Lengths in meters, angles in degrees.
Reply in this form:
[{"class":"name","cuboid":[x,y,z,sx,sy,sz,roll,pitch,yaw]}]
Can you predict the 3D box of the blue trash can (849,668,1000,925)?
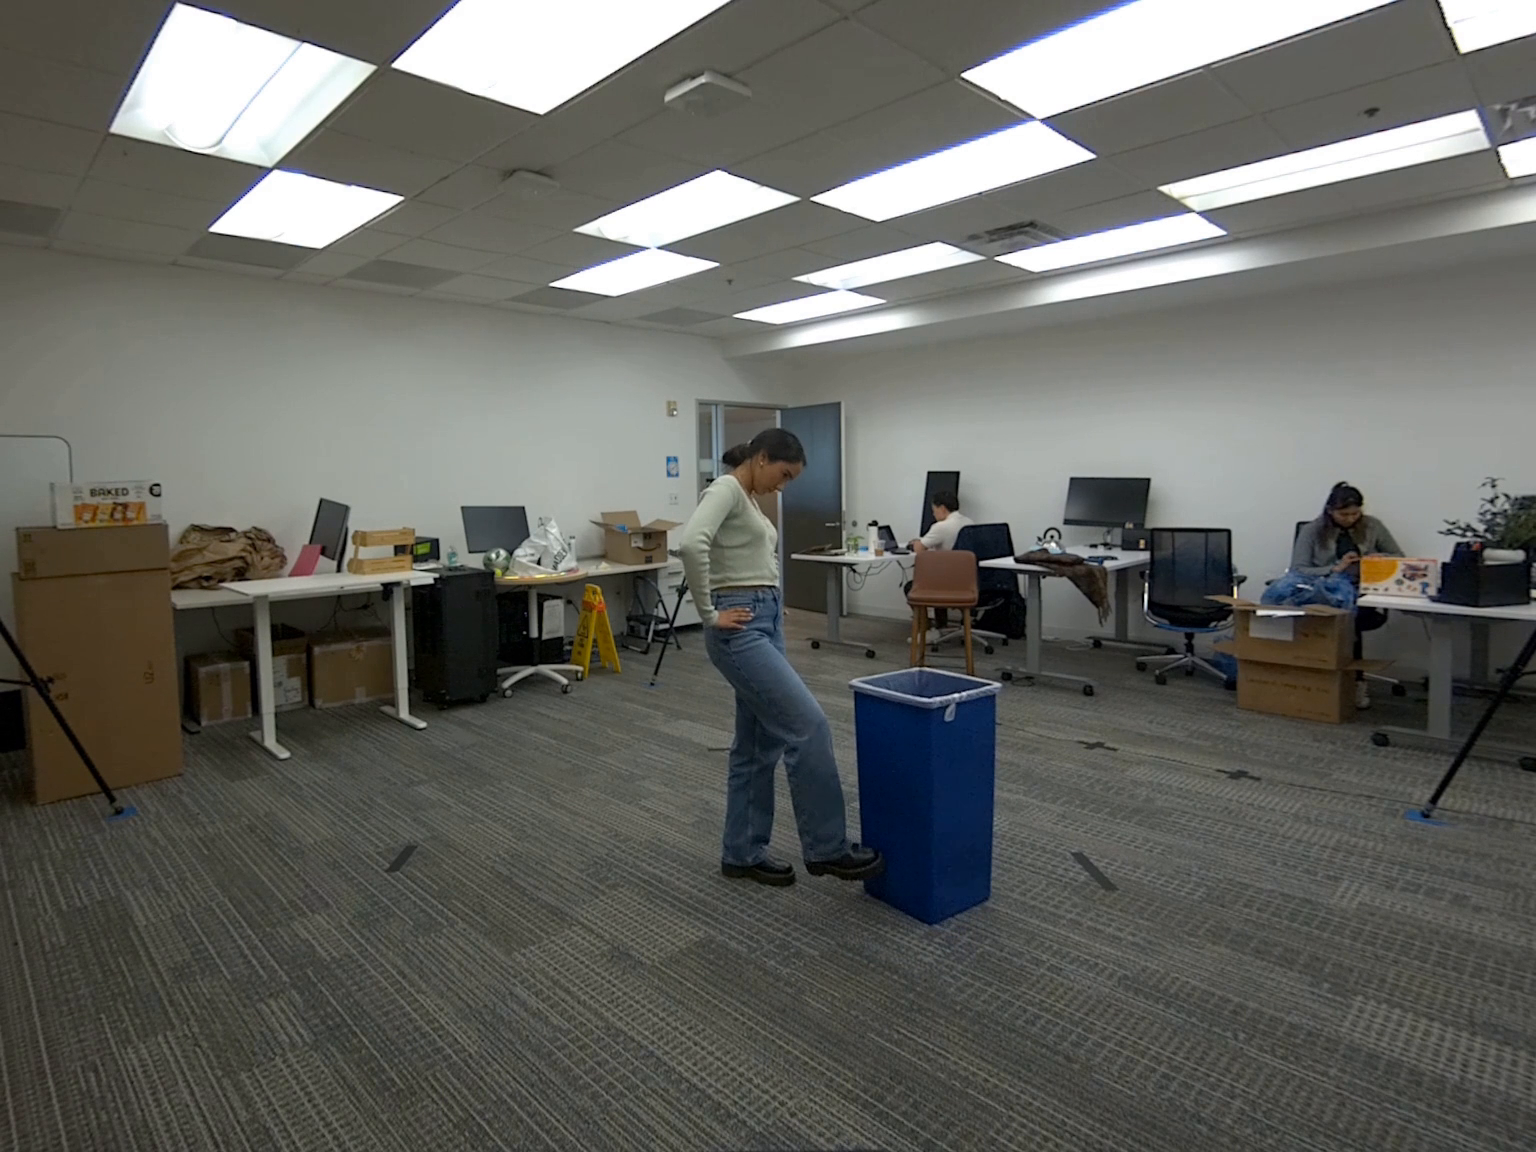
[{"class":"blue trash can","cuboid":[0.527,0.703,2.838,0.364,0.711,0.389,-4,4,-37]}]
